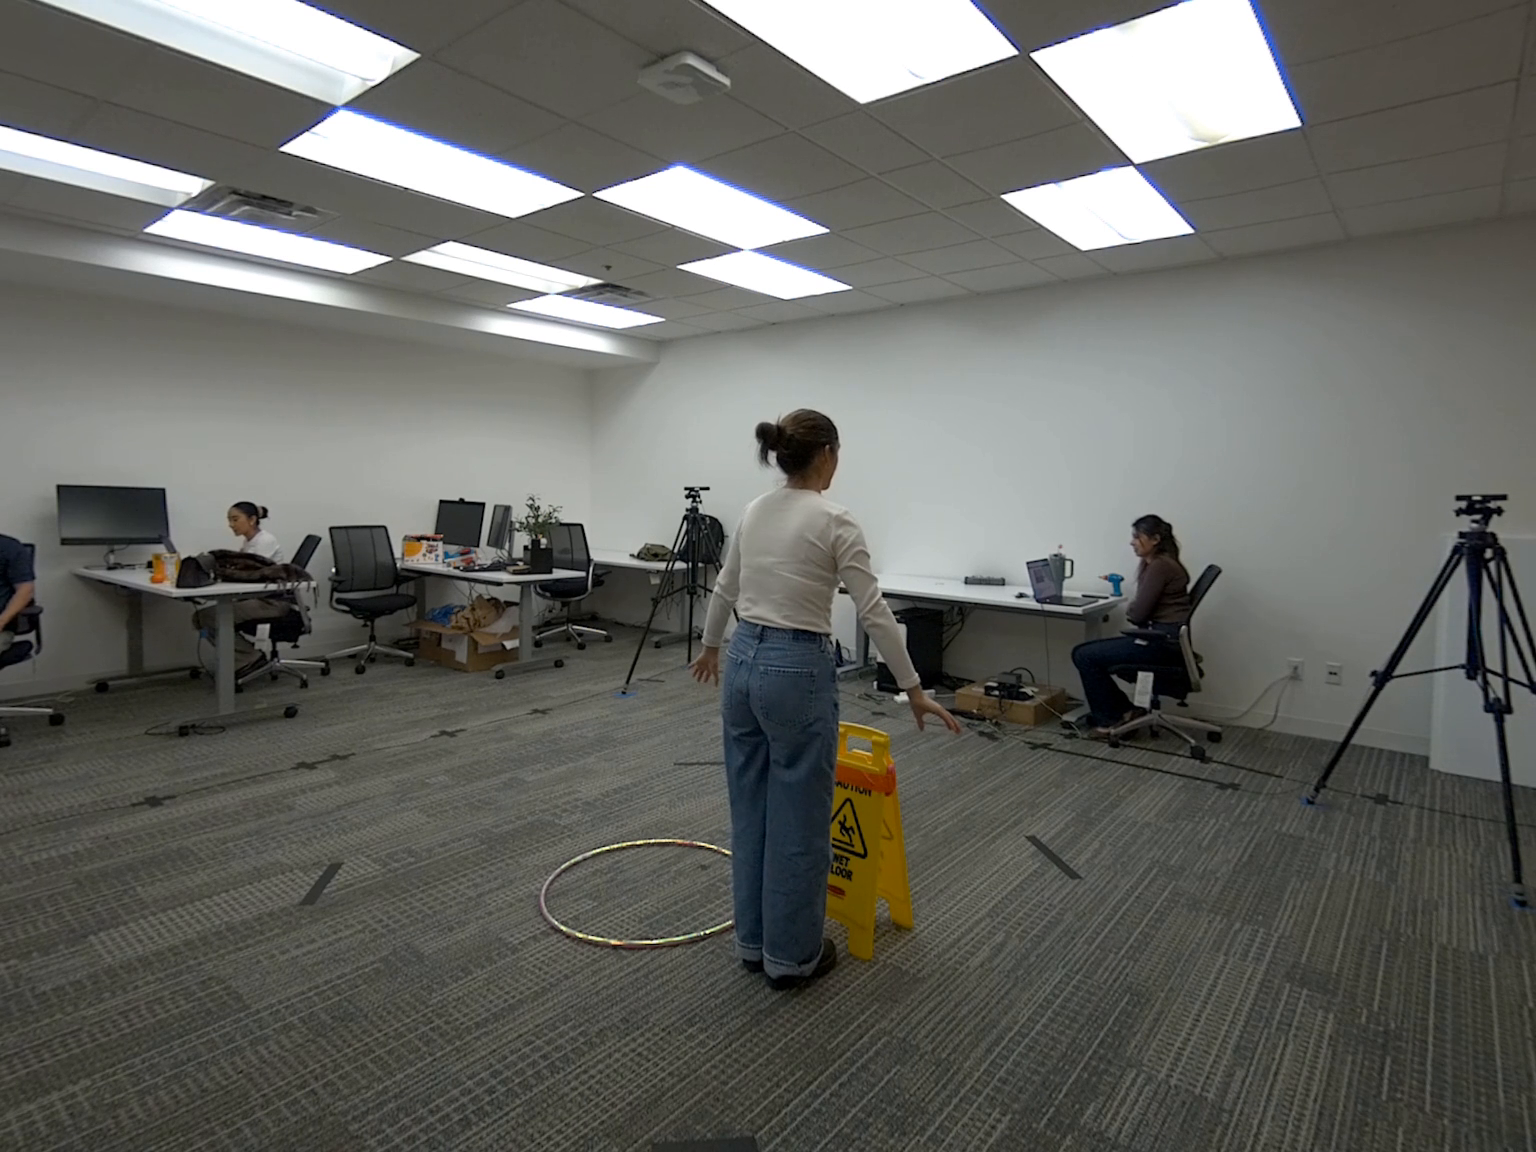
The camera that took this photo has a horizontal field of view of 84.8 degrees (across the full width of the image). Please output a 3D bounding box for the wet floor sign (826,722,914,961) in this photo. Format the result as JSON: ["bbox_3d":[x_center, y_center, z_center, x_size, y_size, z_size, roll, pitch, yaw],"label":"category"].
[{"bbox_3d":[0.276,0.792,2.686,0.292,0.644,0.281,5,4,40],"label":"wet floor sign"}]
